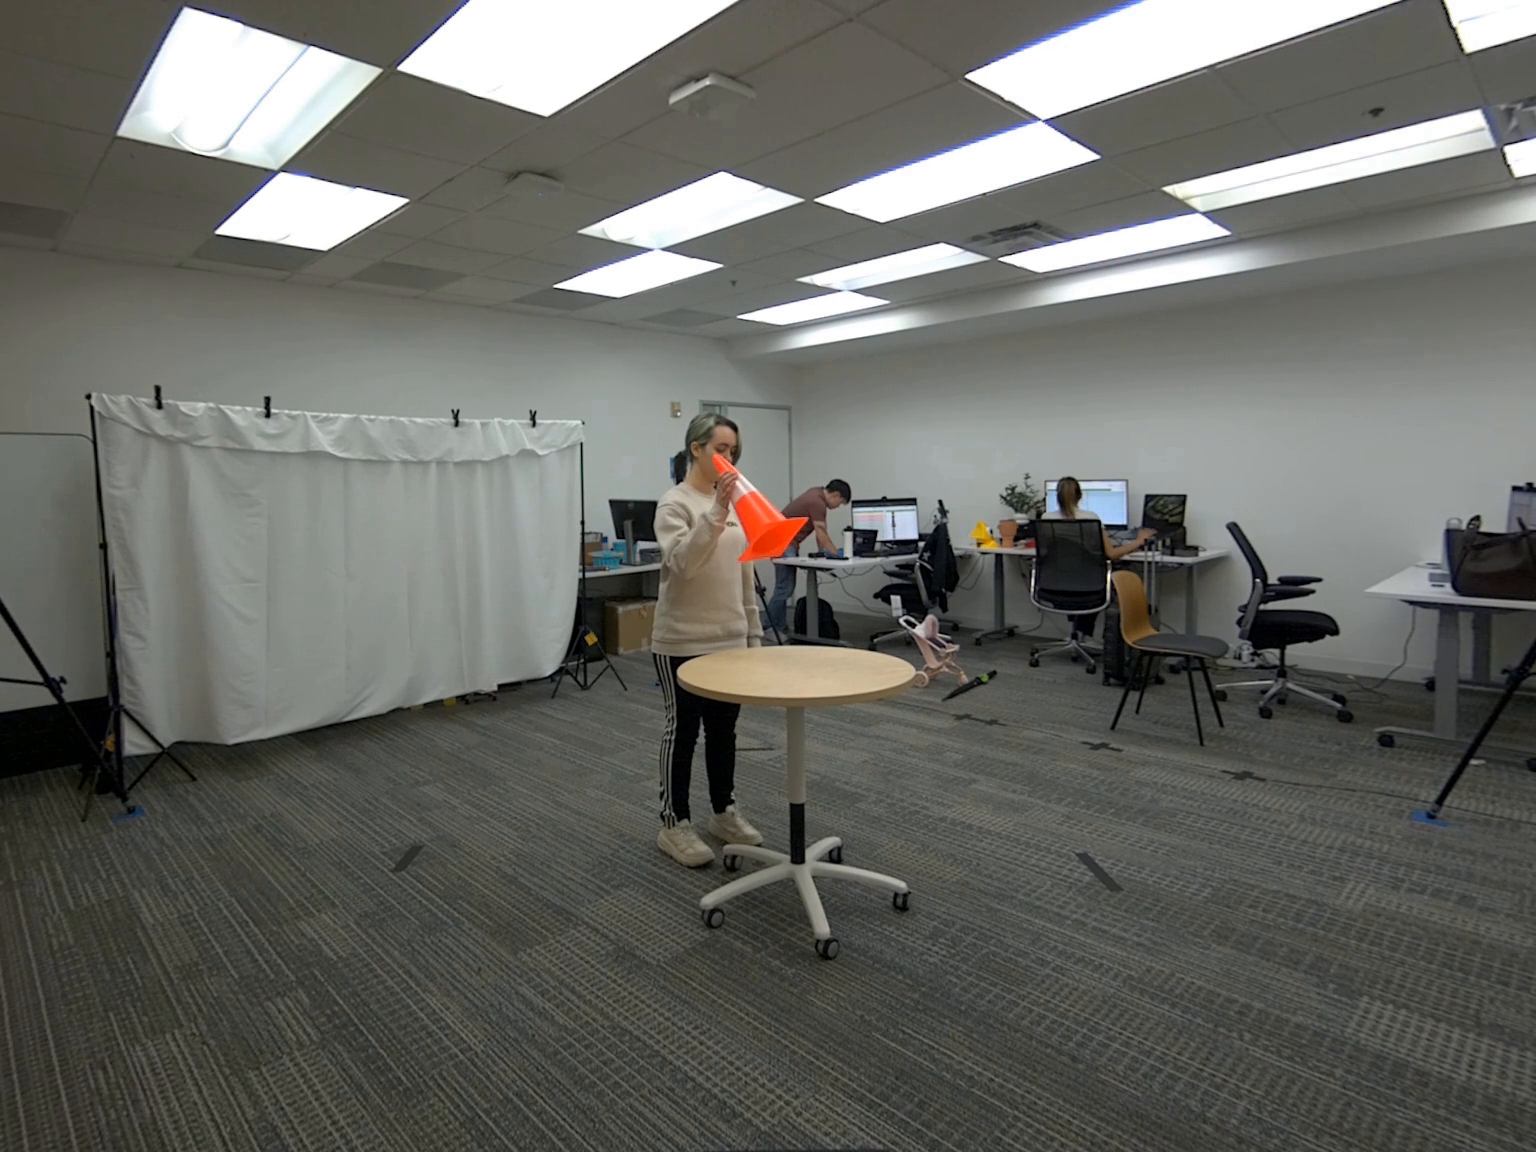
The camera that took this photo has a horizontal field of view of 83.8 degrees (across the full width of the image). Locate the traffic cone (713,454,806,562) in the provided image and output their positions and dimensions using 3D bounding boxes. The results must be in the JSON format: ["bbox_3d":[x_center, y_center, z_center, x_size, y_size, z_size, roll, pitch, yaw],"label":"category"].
[{"bbox_3d":[-0.079,-0.261,2.851,0.200,0.396,0.202,-7,-37,-43],"label":"traffic cone"}]
